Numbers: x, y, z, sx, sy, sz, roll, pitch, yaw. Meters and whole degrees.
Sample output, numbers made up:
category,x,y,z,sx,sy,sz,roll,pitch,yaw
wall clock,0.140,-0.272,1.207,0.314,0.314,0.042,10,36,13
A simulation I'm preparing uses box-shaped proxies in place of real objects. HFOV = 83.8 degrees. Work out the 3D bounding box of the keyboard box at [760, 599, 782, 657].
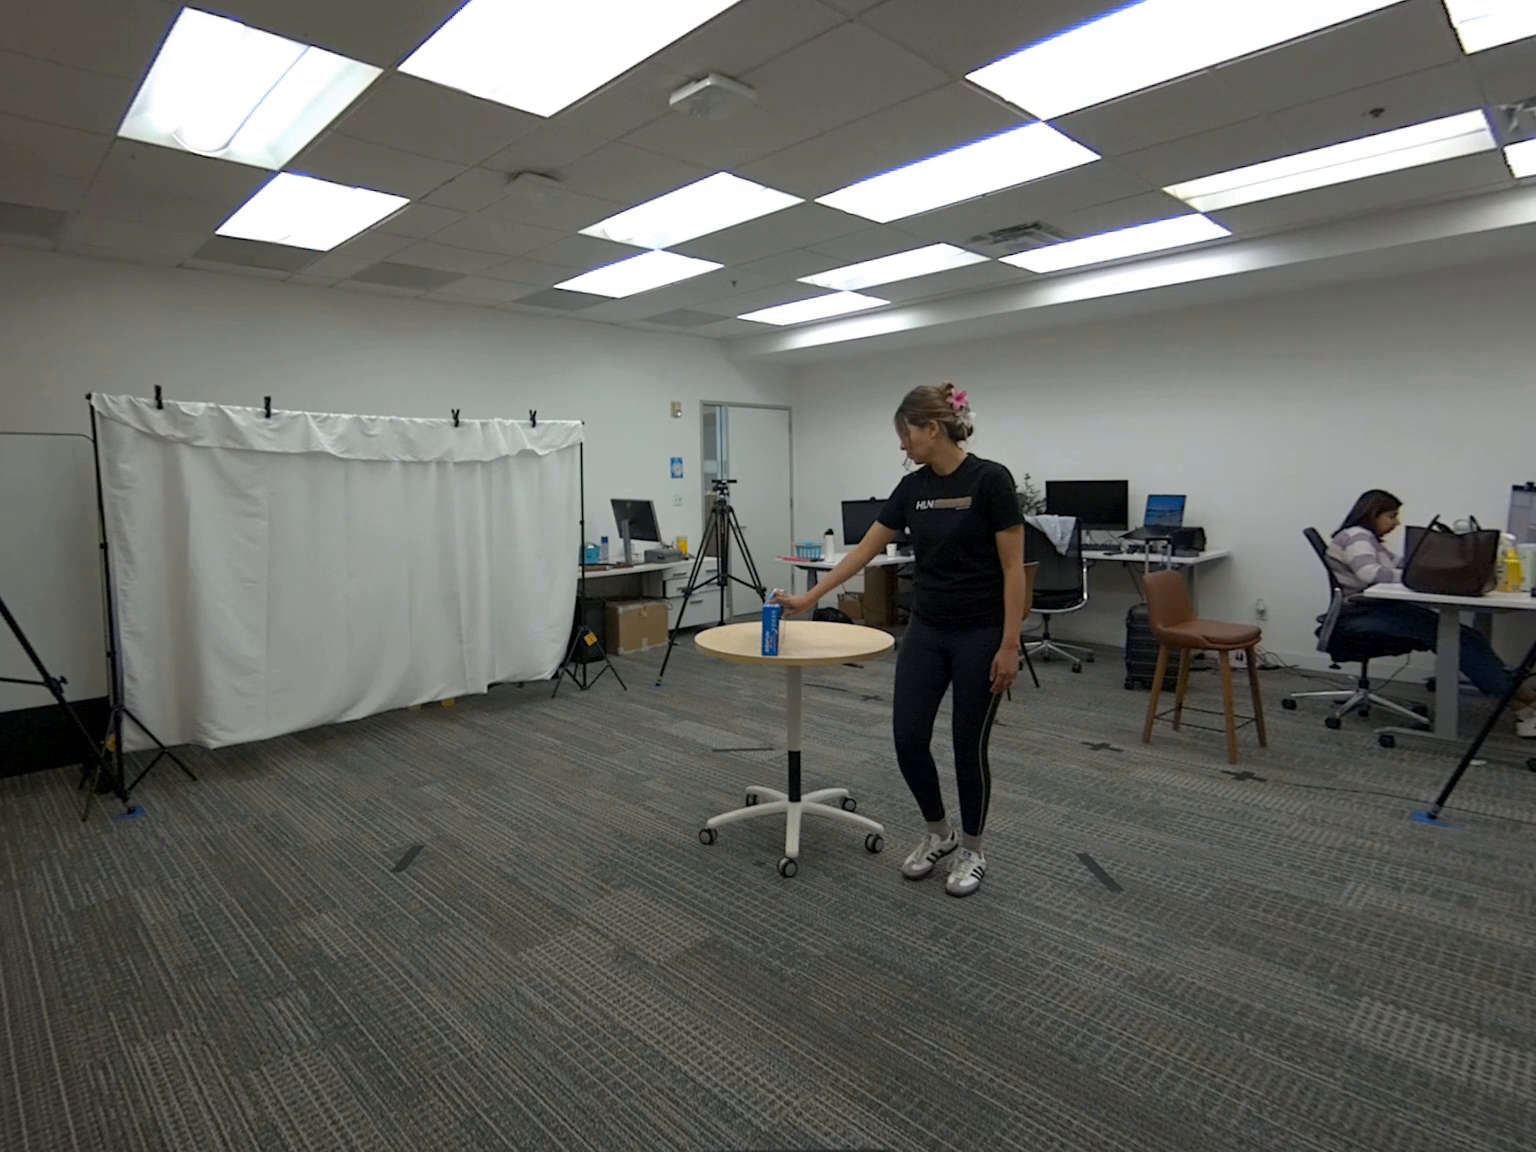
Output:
category,x,y,z,sx,sy,sz,roll,pitch,yaw
keyboard box,0.028,0.162,3.171,0.059,0.175,0.438,0,8,2
